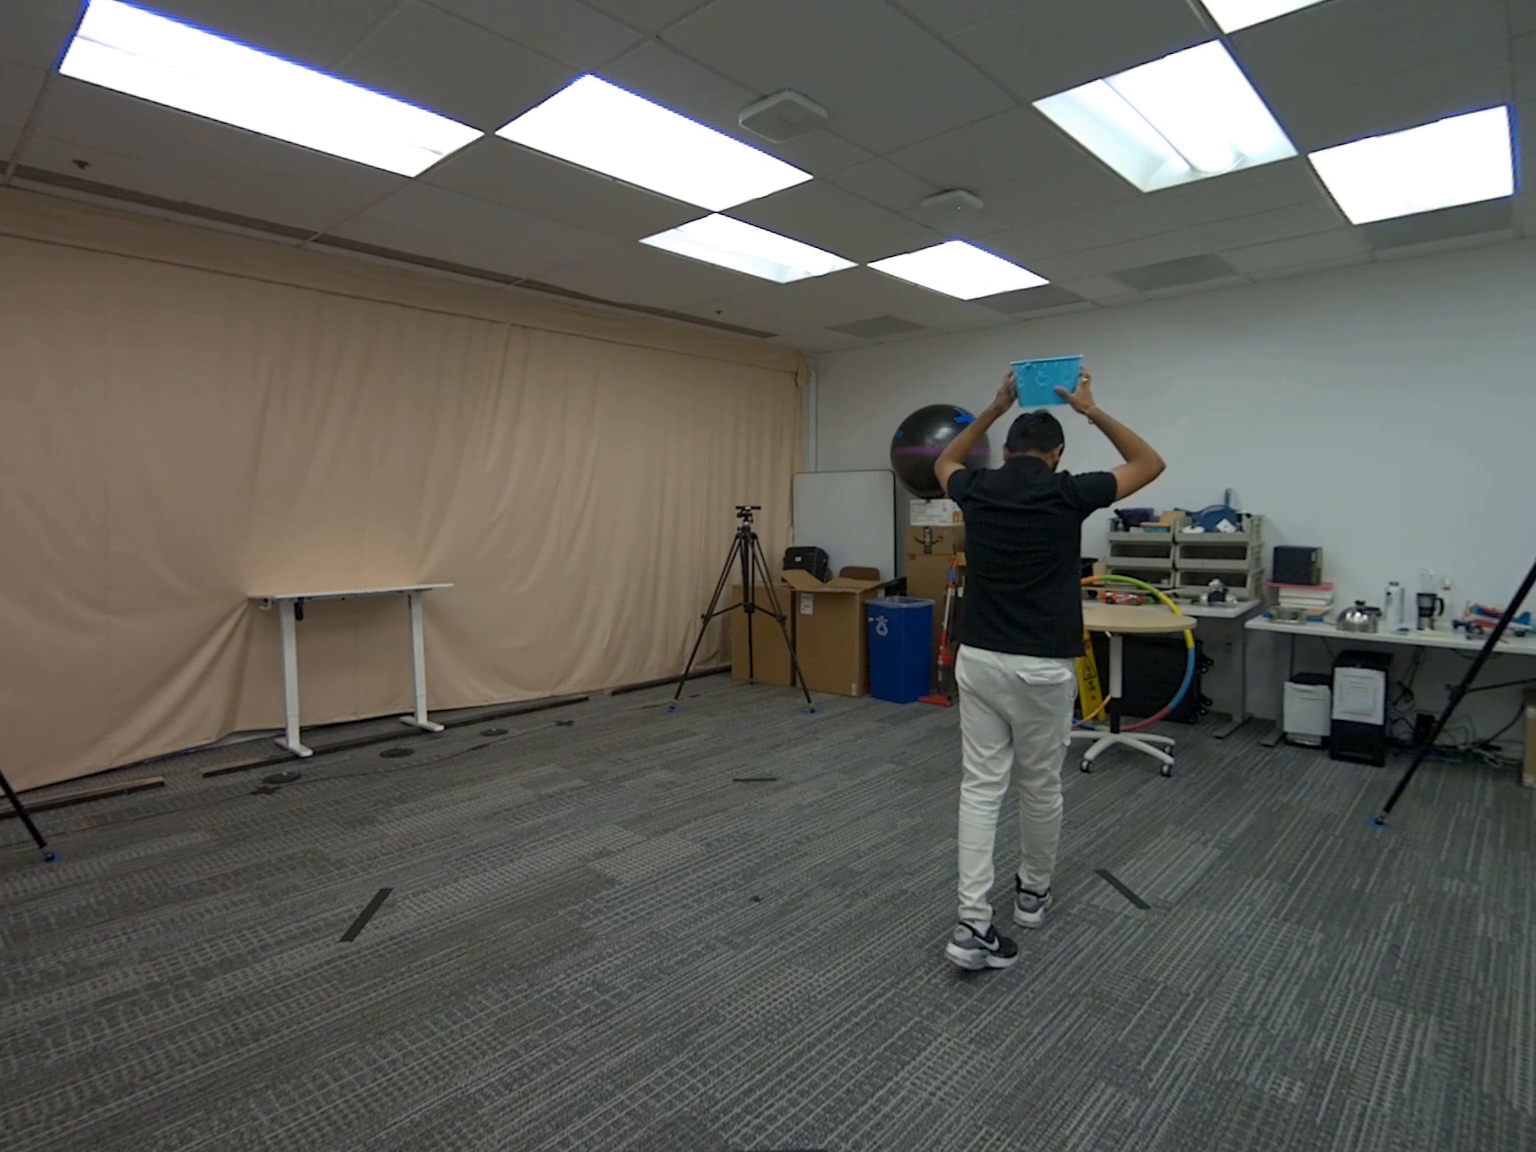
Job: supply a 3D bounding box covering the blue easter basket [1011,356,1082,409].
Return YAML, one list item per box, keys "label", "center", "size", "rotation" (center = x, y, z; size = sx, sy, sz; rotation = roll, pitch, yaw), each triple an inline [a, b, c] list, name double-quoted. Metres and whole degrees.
- label: "blue easter basket"
  center: [0.965, -0.658, 2.862]
  size: [0.244, 0.154, 0.245]
  rotation: [-6, 12, -1]
